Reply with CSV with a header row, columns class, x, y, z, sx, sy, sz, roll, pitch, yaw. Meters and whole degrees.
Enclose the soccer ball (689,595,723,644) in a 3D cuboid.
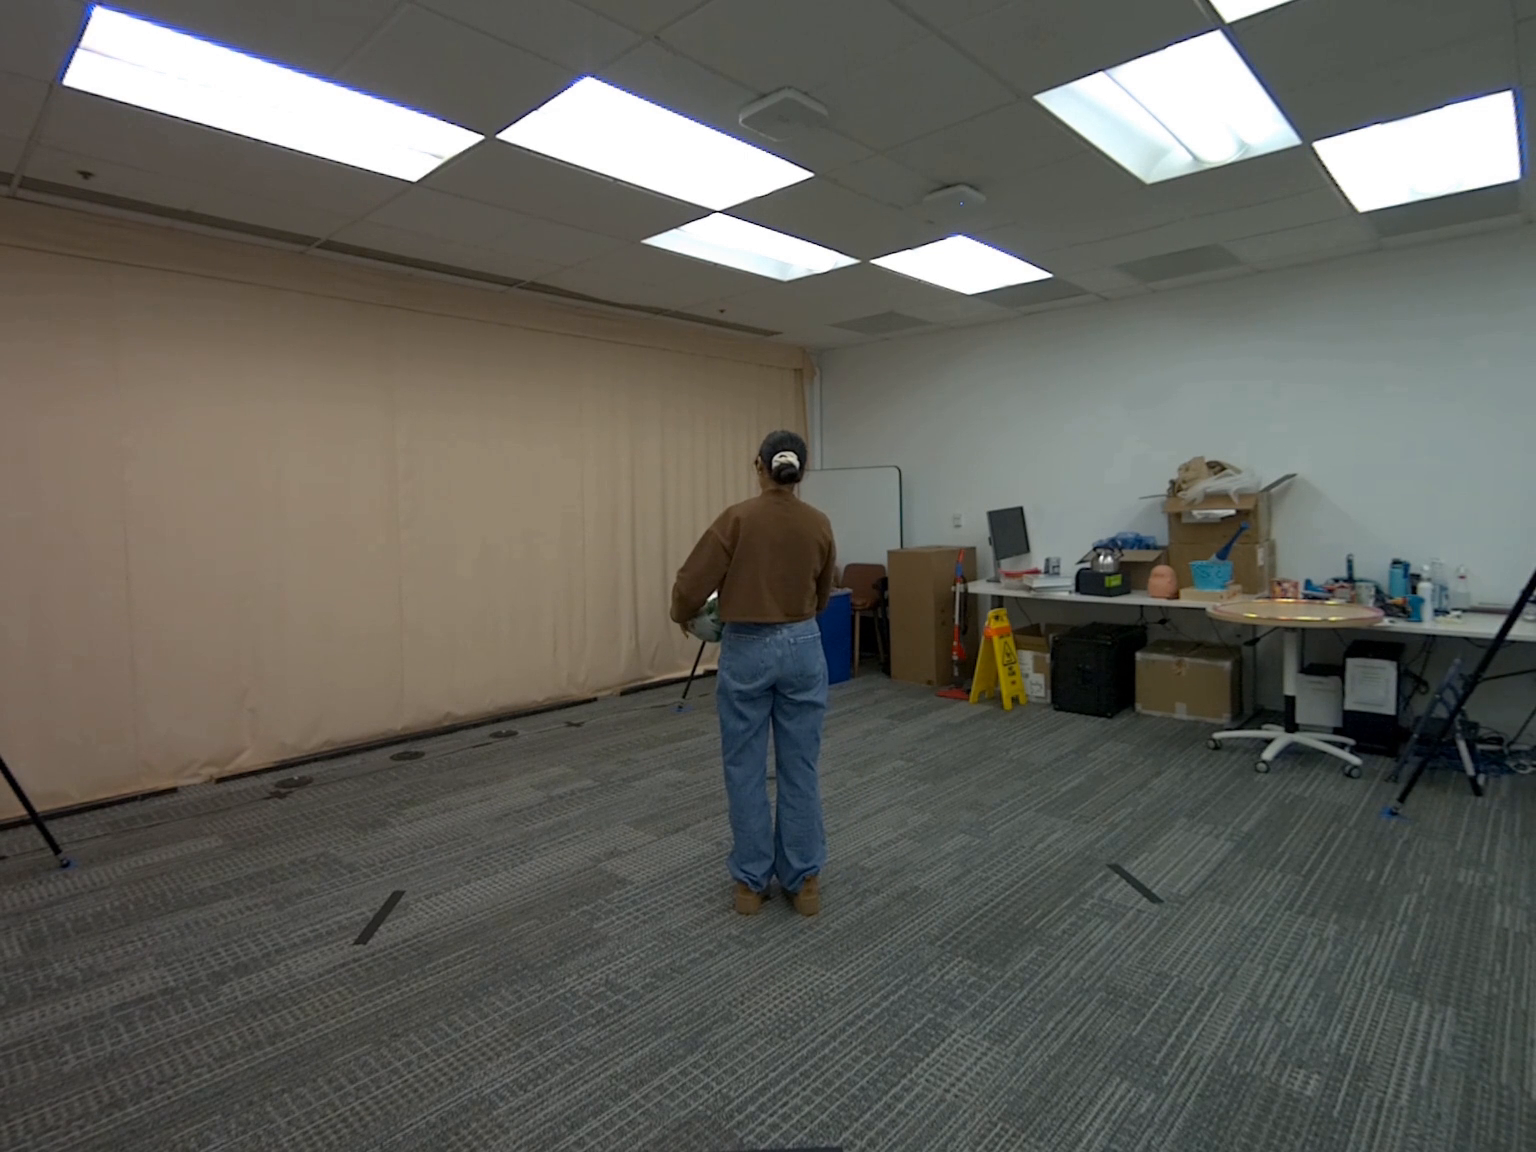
class,x,y,z,sx,sy,sz,roll,pitch,yaw
soccer ball,-0.200,0.147,3.058,0.187,0.187,0.188,-1,4,-2
